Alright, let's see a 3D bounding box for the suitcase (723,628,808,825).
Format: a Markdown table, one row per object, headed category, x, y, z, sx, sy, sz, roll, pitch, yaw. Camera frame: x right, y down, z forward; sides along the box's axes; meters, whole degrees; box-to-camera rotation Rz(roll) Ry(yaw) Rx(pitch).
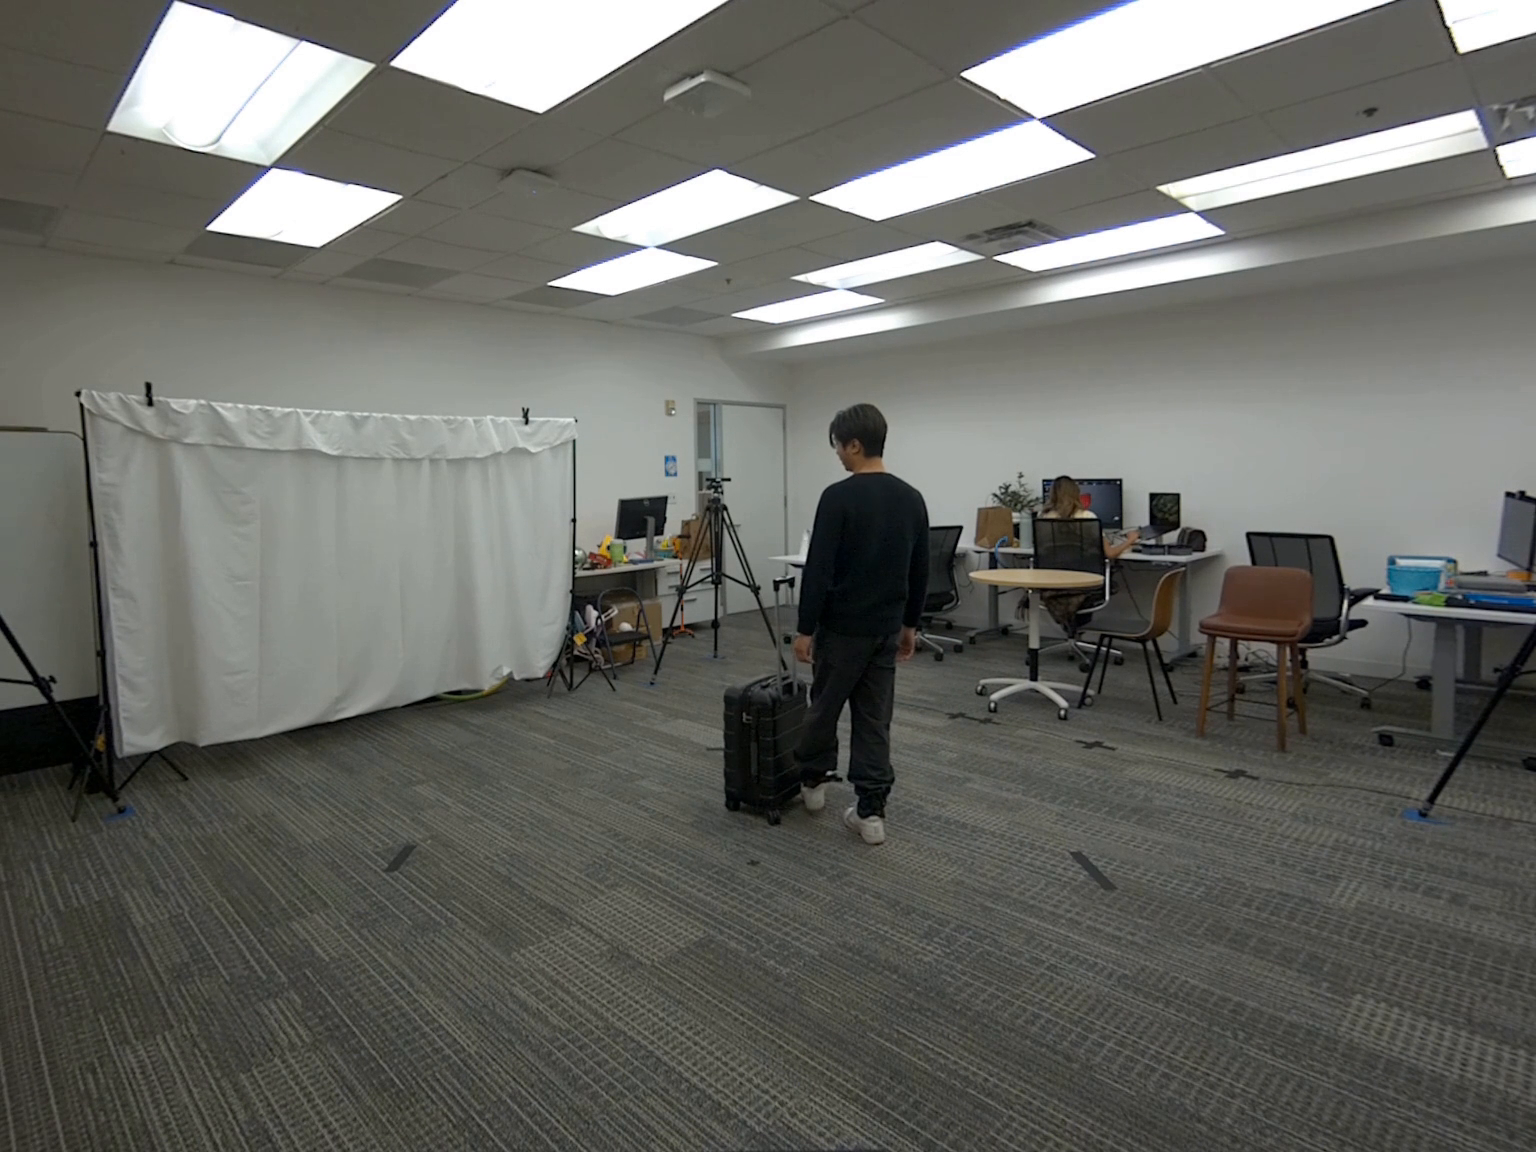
| category | x | y | z | sx | sy | sz | roll | pitch | yaw |
| --- | --- | --- | --- | --- | --- | --- | --- | --- | --- |
| suitcase | -0.015 | 0.508 | 3.631 | 0.264 | 0.976 | 0.375 | -2 | 3 | 34 |
